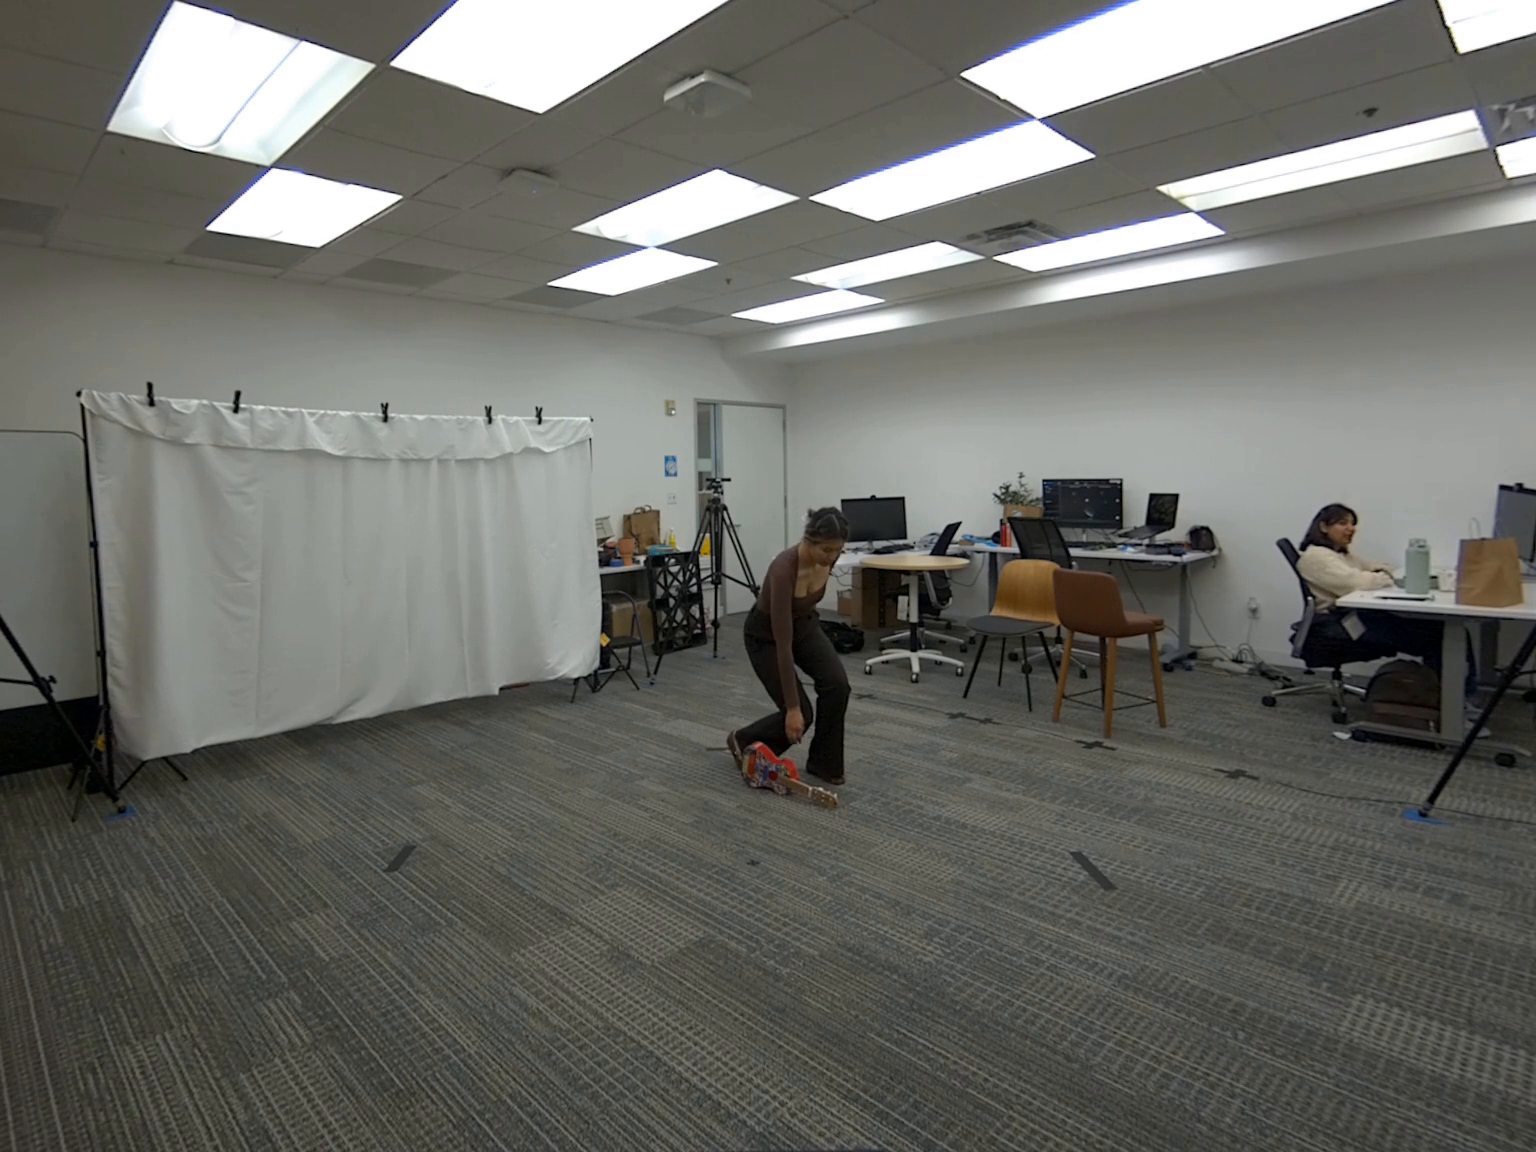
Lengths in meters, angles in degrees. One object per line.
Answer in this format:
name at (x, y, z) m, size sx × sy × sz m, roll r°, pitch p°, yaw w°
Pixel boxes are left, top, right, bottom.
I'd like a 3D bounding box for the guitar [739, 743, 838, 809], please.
guitar at (0.091, 0.927, 3.771) m, size 0.515 × 0.191 × 0.069 m, roll 25°, pitch 20°, yaw 33°
